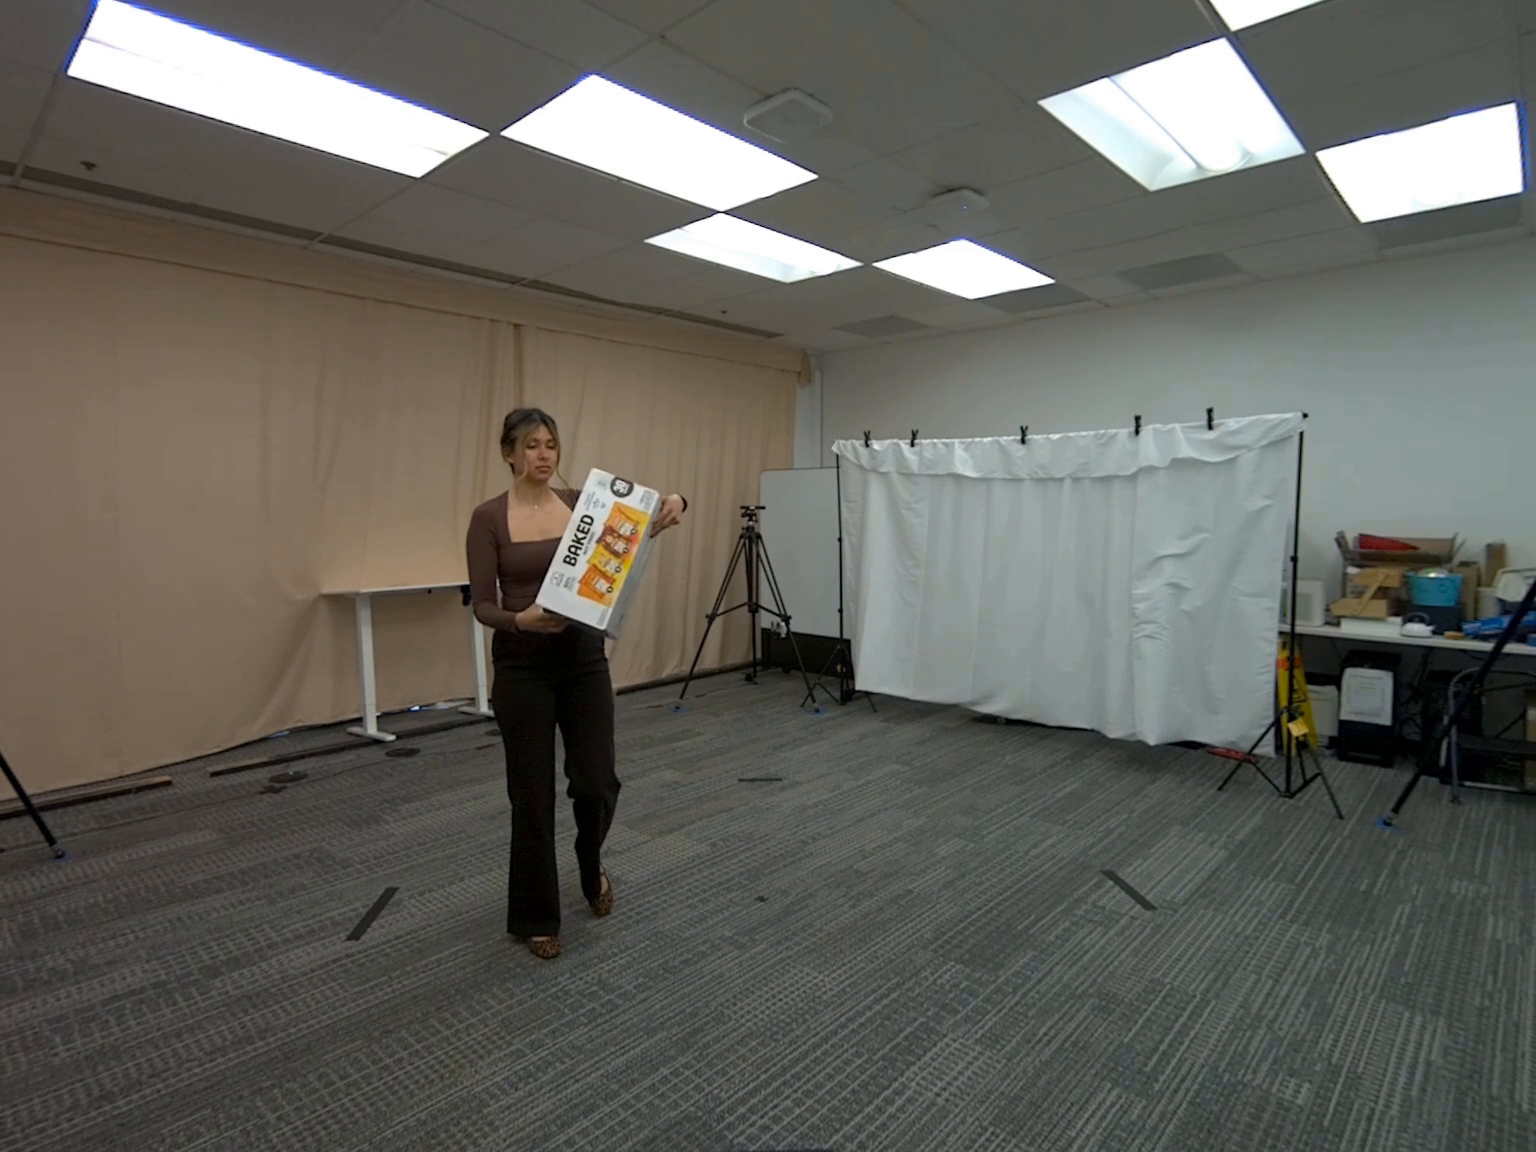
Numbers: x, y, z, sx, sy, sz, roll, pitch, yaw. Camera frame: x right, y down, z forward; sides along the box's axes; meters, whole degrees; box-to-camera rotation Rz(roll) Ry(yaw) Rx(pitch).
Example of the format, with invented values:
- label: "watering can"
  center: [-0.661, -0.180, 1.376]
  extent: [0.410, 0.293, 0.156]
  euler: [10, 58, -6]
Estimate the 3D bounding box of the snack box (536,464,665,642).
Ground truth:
- label: "snack box"
  center: [-0.465, -0.055, 2.422]
  extent: [0.206, 0.406, 0.338]
  euler: [21, -10, 2]
